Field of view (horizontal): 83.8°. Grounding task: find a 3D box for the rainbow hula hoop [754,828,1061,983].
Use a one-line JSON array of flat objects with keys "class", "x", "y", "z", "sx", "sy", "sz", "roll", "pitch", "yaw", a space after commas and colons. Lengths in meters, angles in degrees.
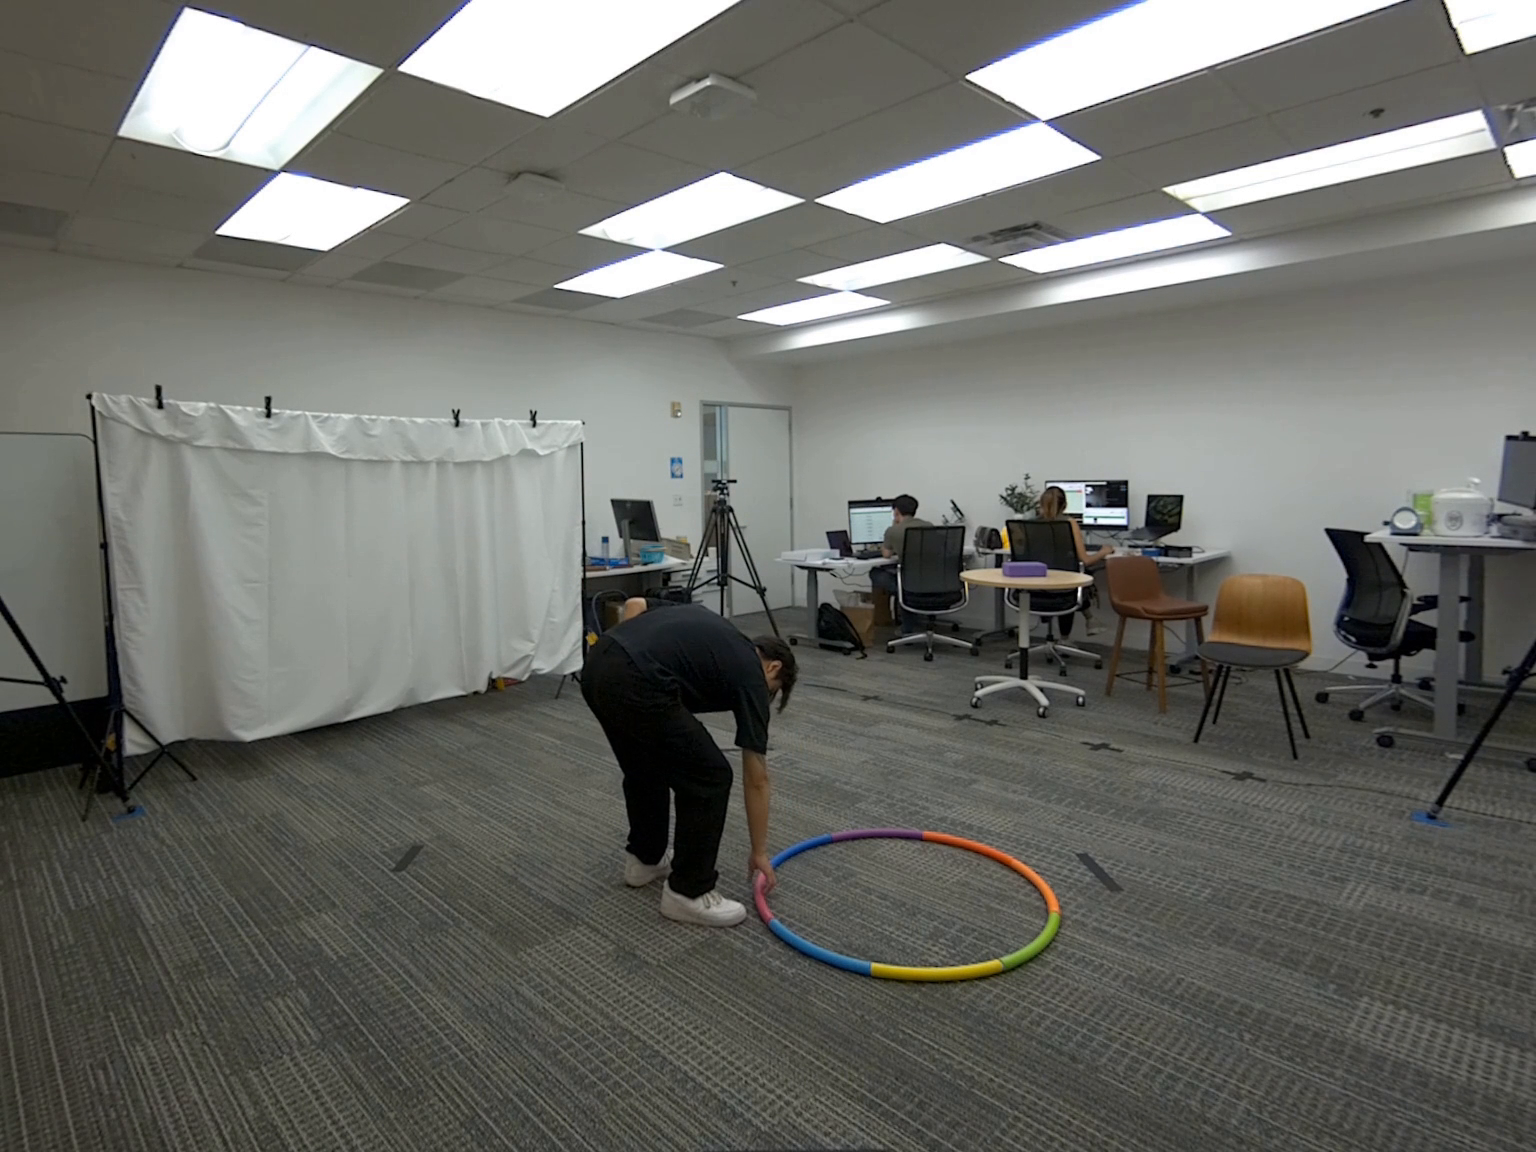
[{"class": "rainbow hula hoop", "x": 0.438, "y": 1.039, "z": 2.845, "sx": 0.978, "sy": 0.035, "sz": 0.984, "roll": -2, "pitch": 6, "yaw": -2}]
